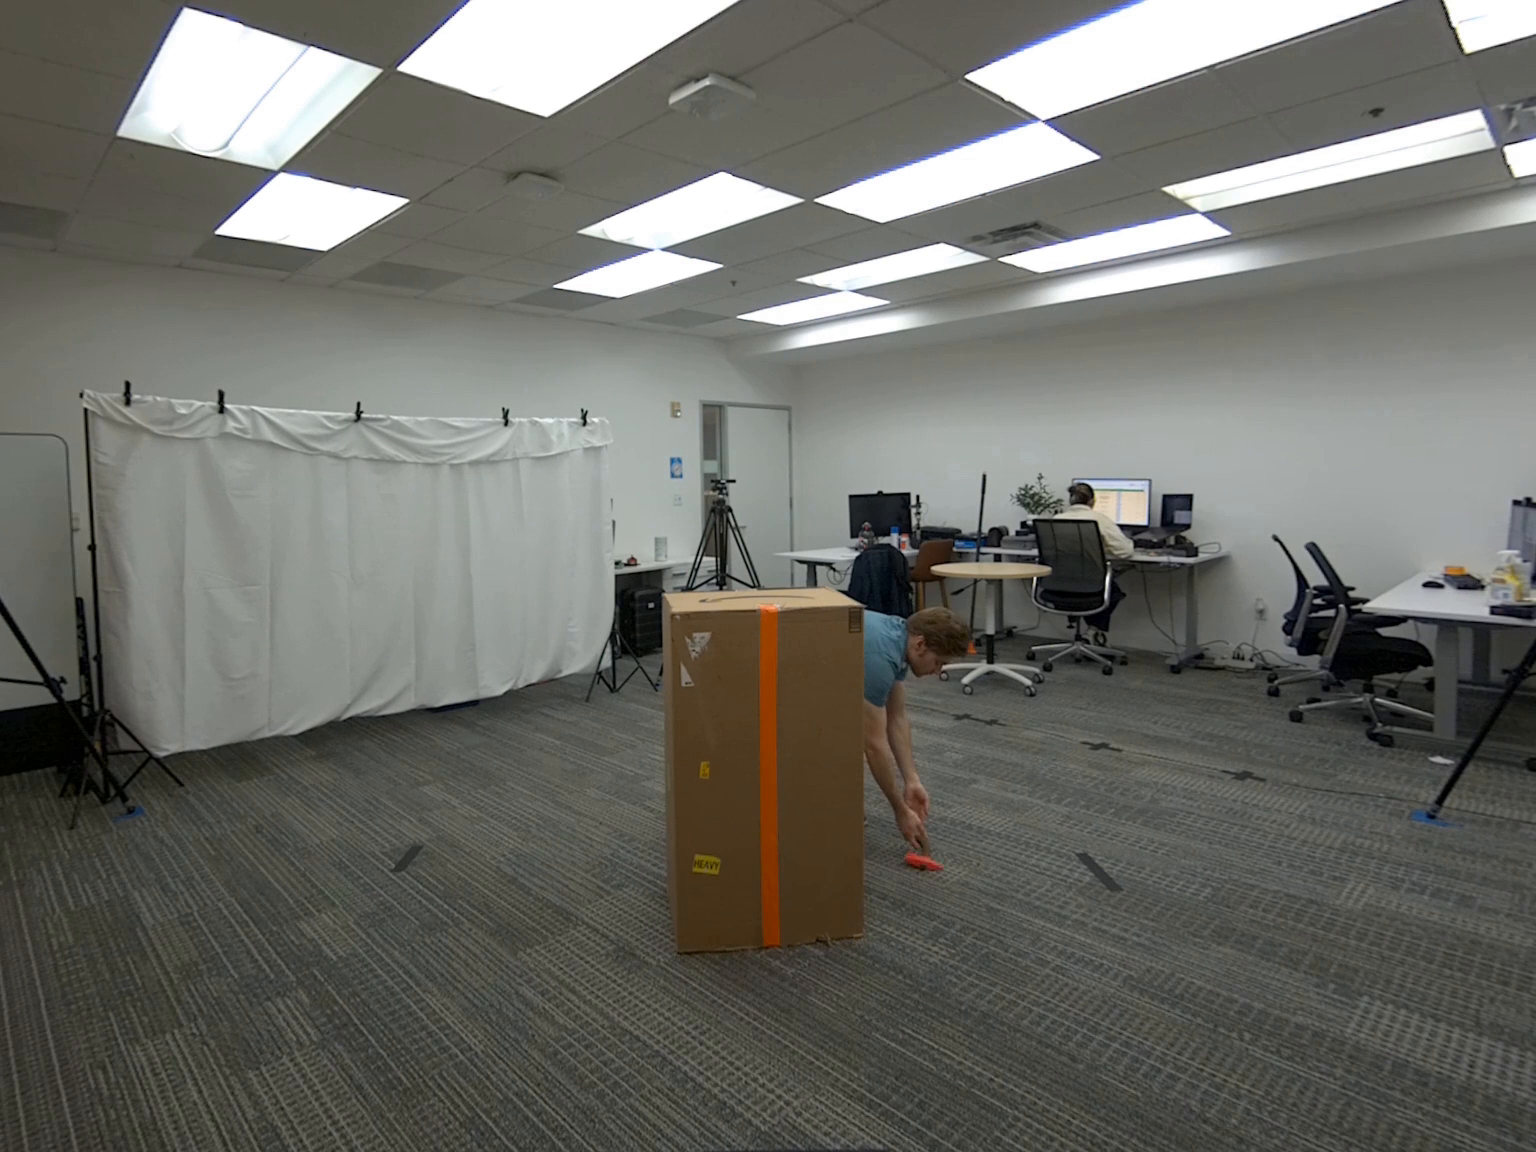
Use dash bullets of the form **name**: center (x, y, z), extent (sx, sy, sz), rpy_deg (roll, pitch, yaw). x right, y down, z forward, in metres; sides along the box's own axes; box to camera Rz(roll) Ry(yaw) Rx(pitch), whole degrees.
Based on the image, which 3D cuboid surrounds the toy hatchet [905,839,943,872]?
- **toy hatchet**: center (0.549, 1.015, 3.152), extent (0.131, 0.029, 0.272), rpy_deg (-2, 5, -4)
